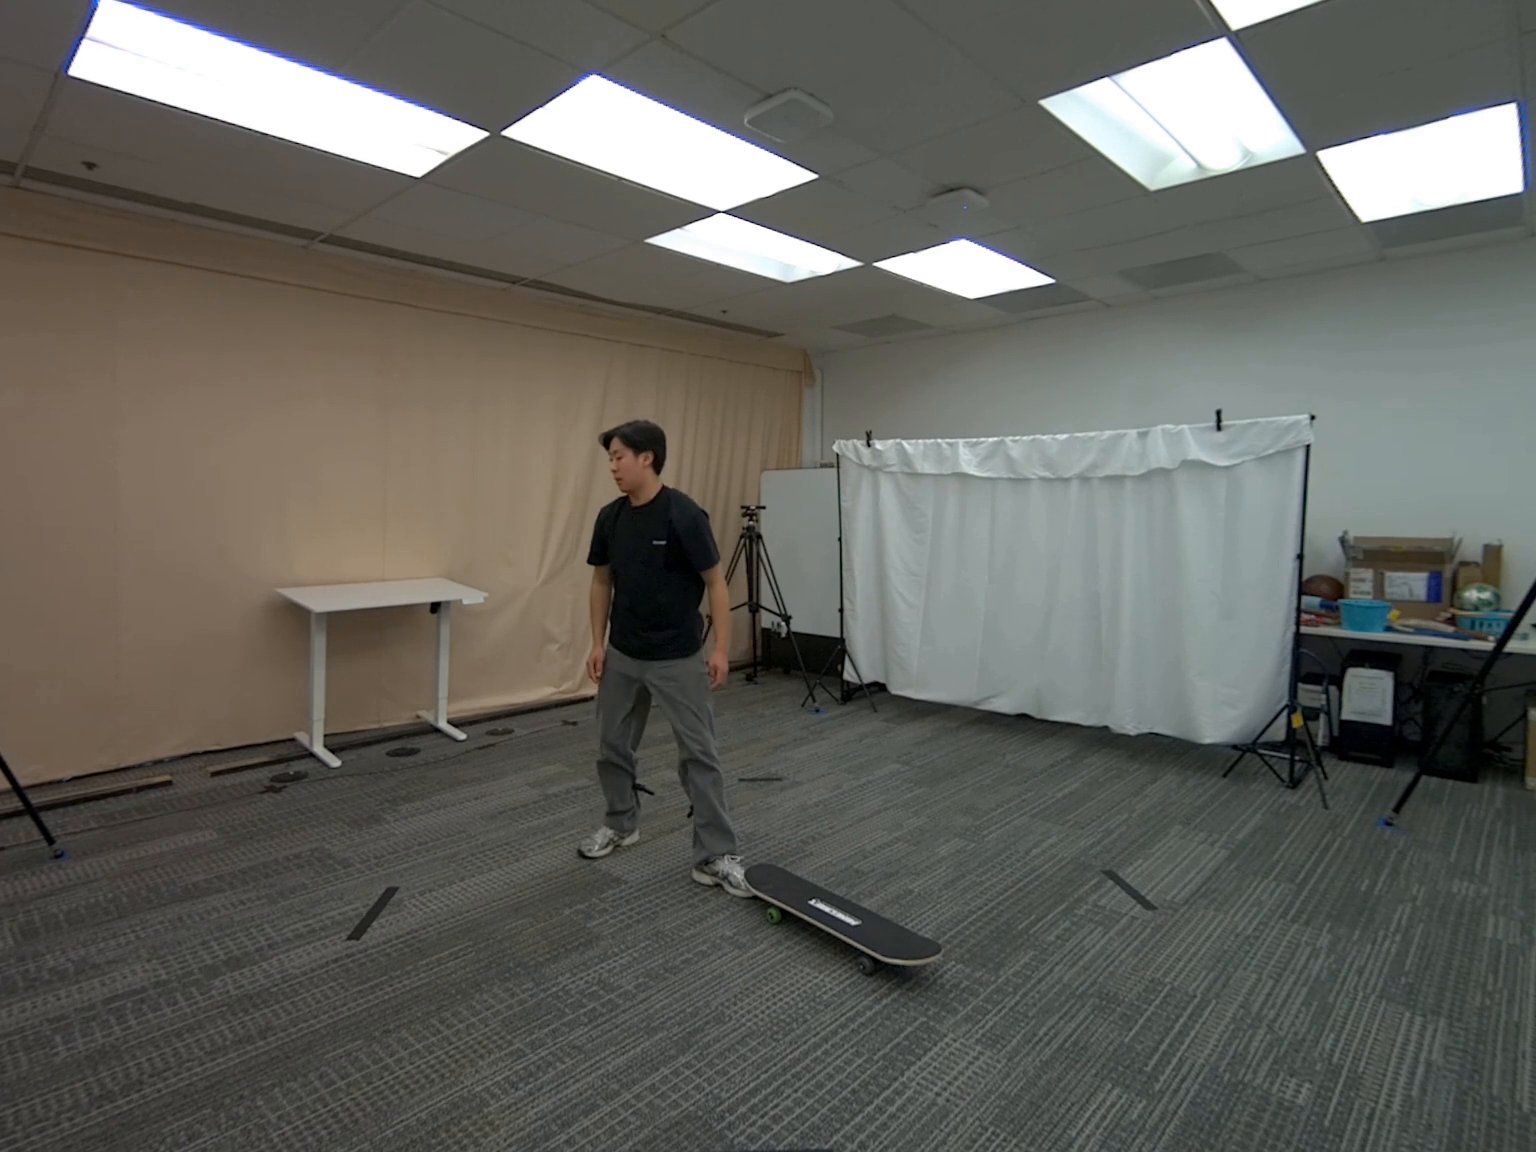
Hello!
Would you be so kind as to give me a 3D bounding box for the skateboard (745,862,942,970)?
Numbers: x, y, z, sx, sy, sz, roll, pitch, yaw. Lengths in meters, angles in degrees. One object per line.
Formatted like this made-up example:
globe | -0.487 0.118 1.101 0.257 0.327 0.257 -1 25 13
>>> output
skateboard | 0.219 1.111 2.703 0.187 0.110 0.812 -4 6 -41
